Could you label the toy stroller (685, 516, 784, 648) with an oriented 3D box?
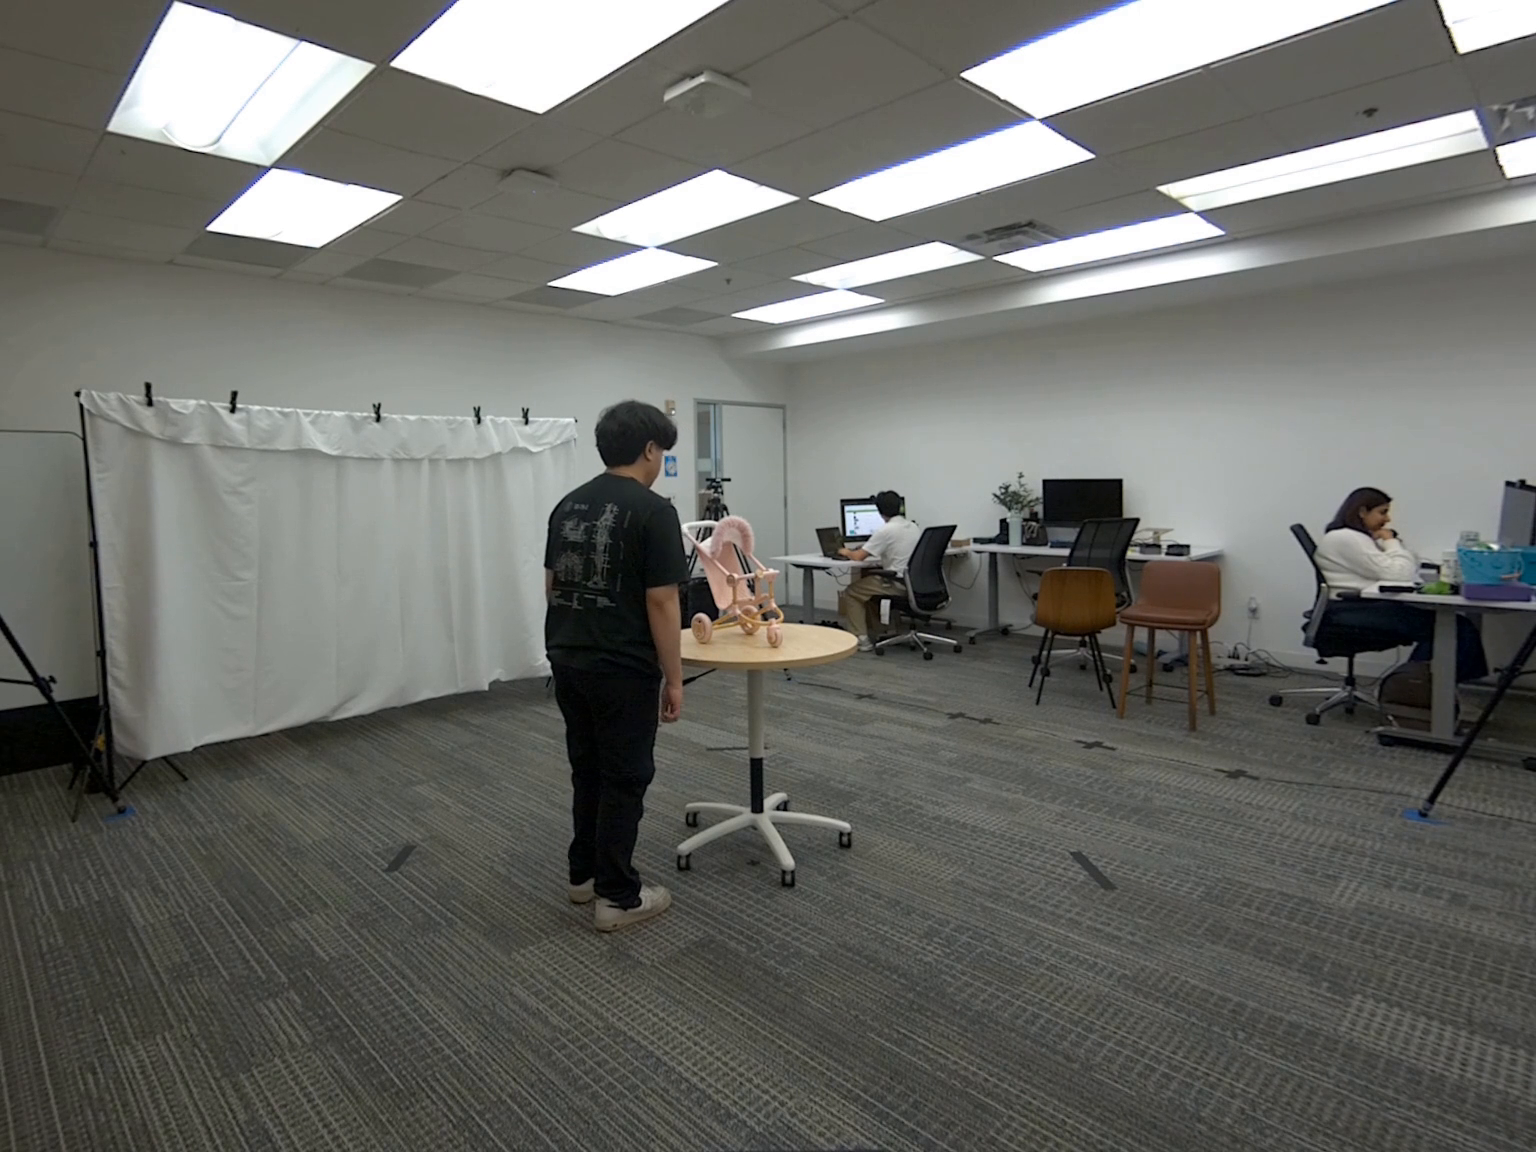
[{"bbox_3d":[-0.116,0.017,3.177,0.274,0.540,0.347,-5,-10,-40],"label":"toy stroller"}]
